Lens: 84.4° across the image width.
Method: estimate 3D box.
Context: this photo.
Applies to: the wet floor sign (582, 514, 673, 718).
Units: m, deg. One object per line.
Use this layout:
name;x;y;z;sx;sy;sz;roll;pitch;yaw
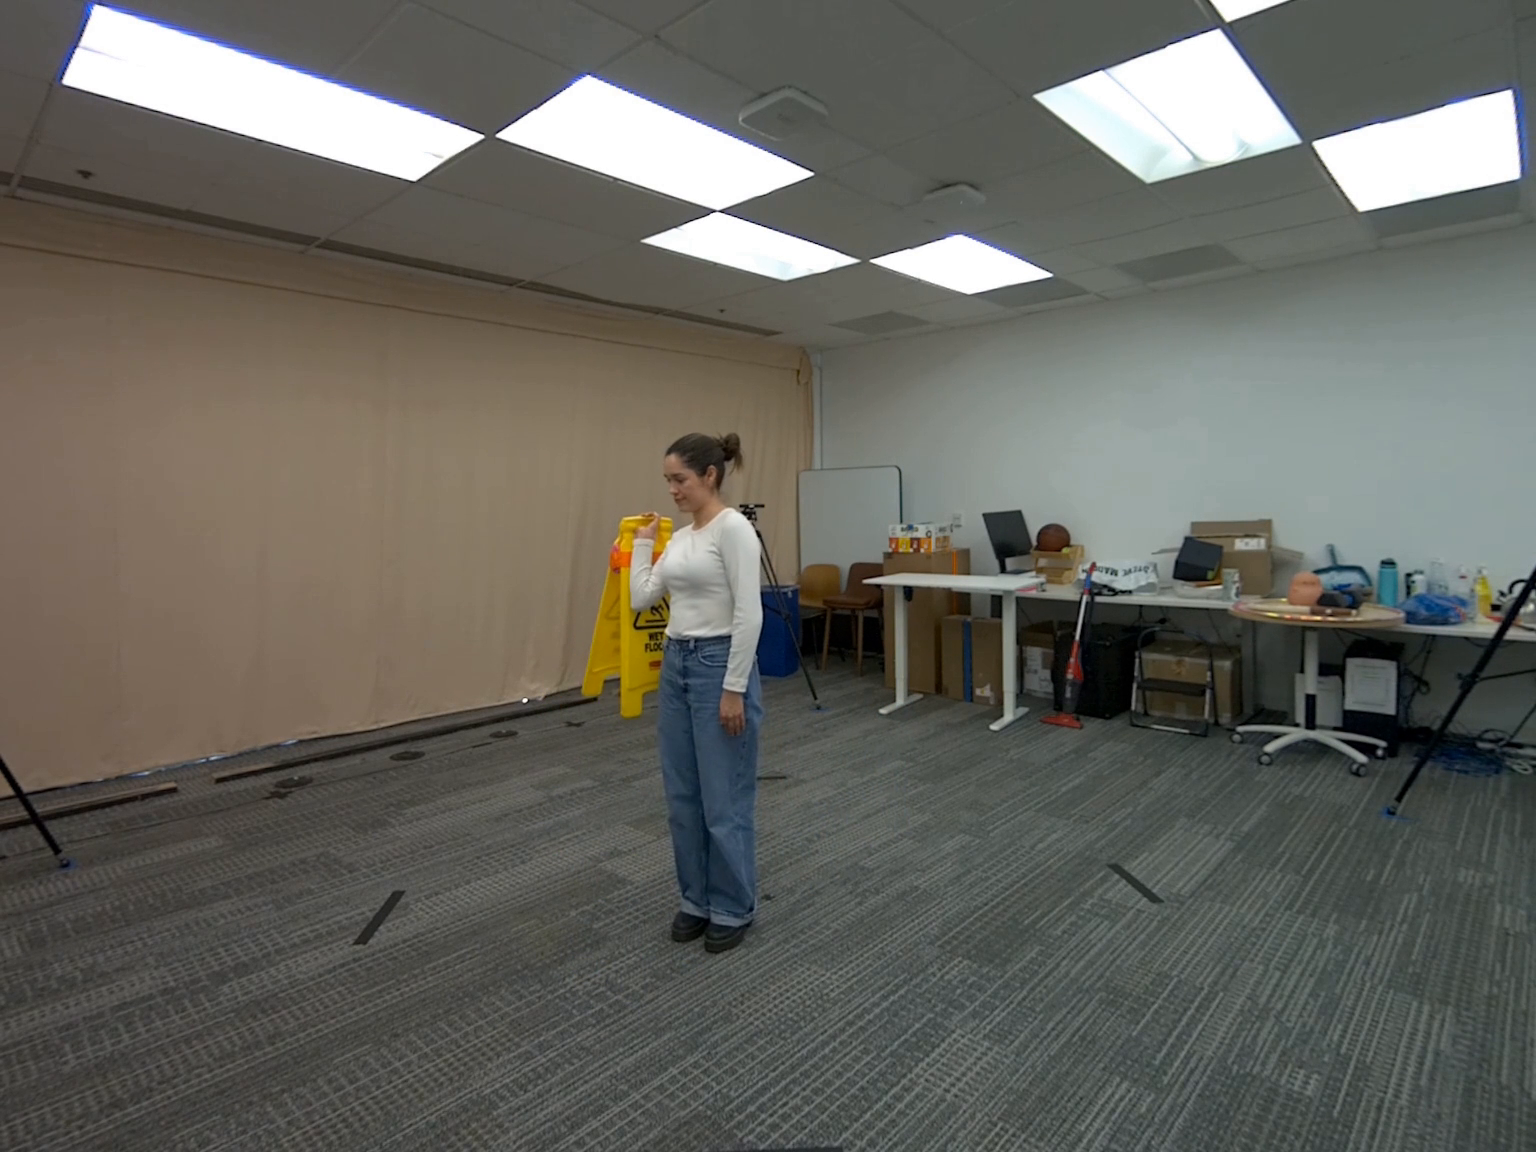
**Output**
wet floor sign;-0.436;0.120;2.911;0.273;0.644;0.300;-1;9;-40
